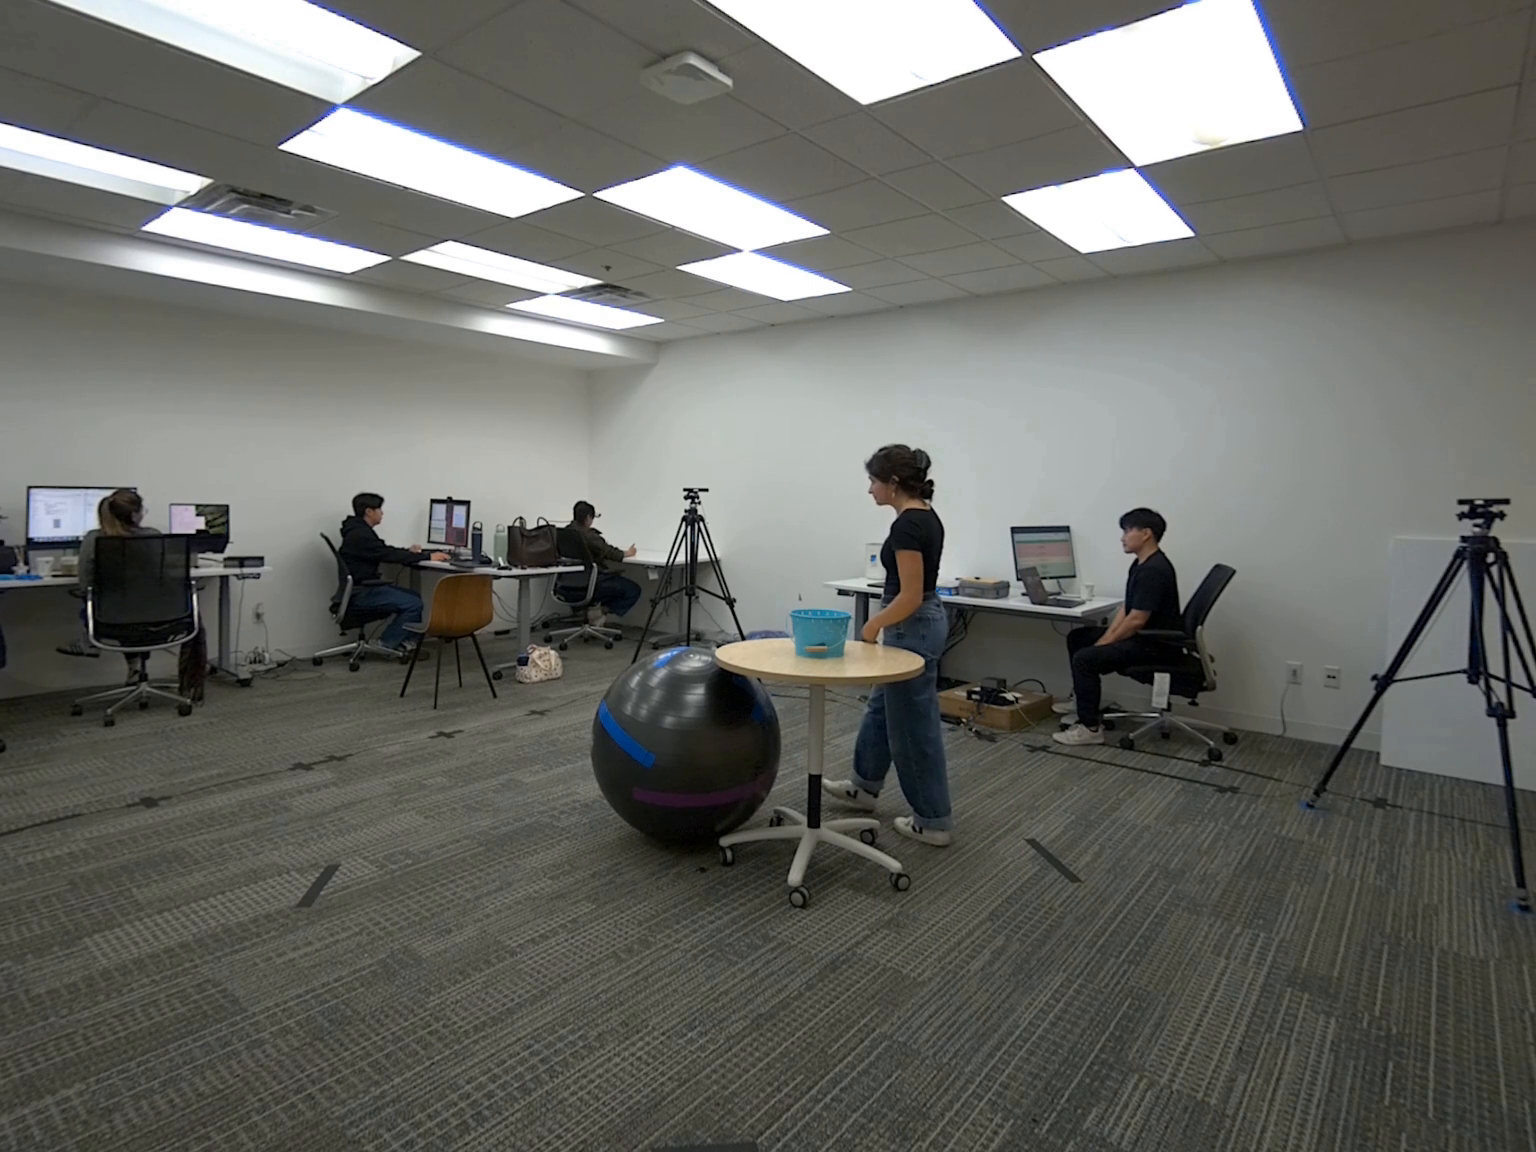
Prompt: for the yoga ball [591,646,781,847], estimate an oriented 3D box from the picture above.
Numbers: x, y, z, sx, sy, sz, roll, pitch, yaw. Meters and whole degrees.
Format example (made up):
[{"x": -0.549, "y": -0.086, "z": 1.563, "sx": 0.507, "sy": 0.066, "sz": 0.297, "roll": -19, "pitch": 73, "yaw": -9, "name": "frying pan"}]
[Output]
[{"x": -0.341, "y": 0.673, "z": 3.397, "sx": 0.757, "sy": 0.756, "sz": 0.762, "roll": 1, "pitch": 4, "yaw": -2, "name": "yoga ball"}]
